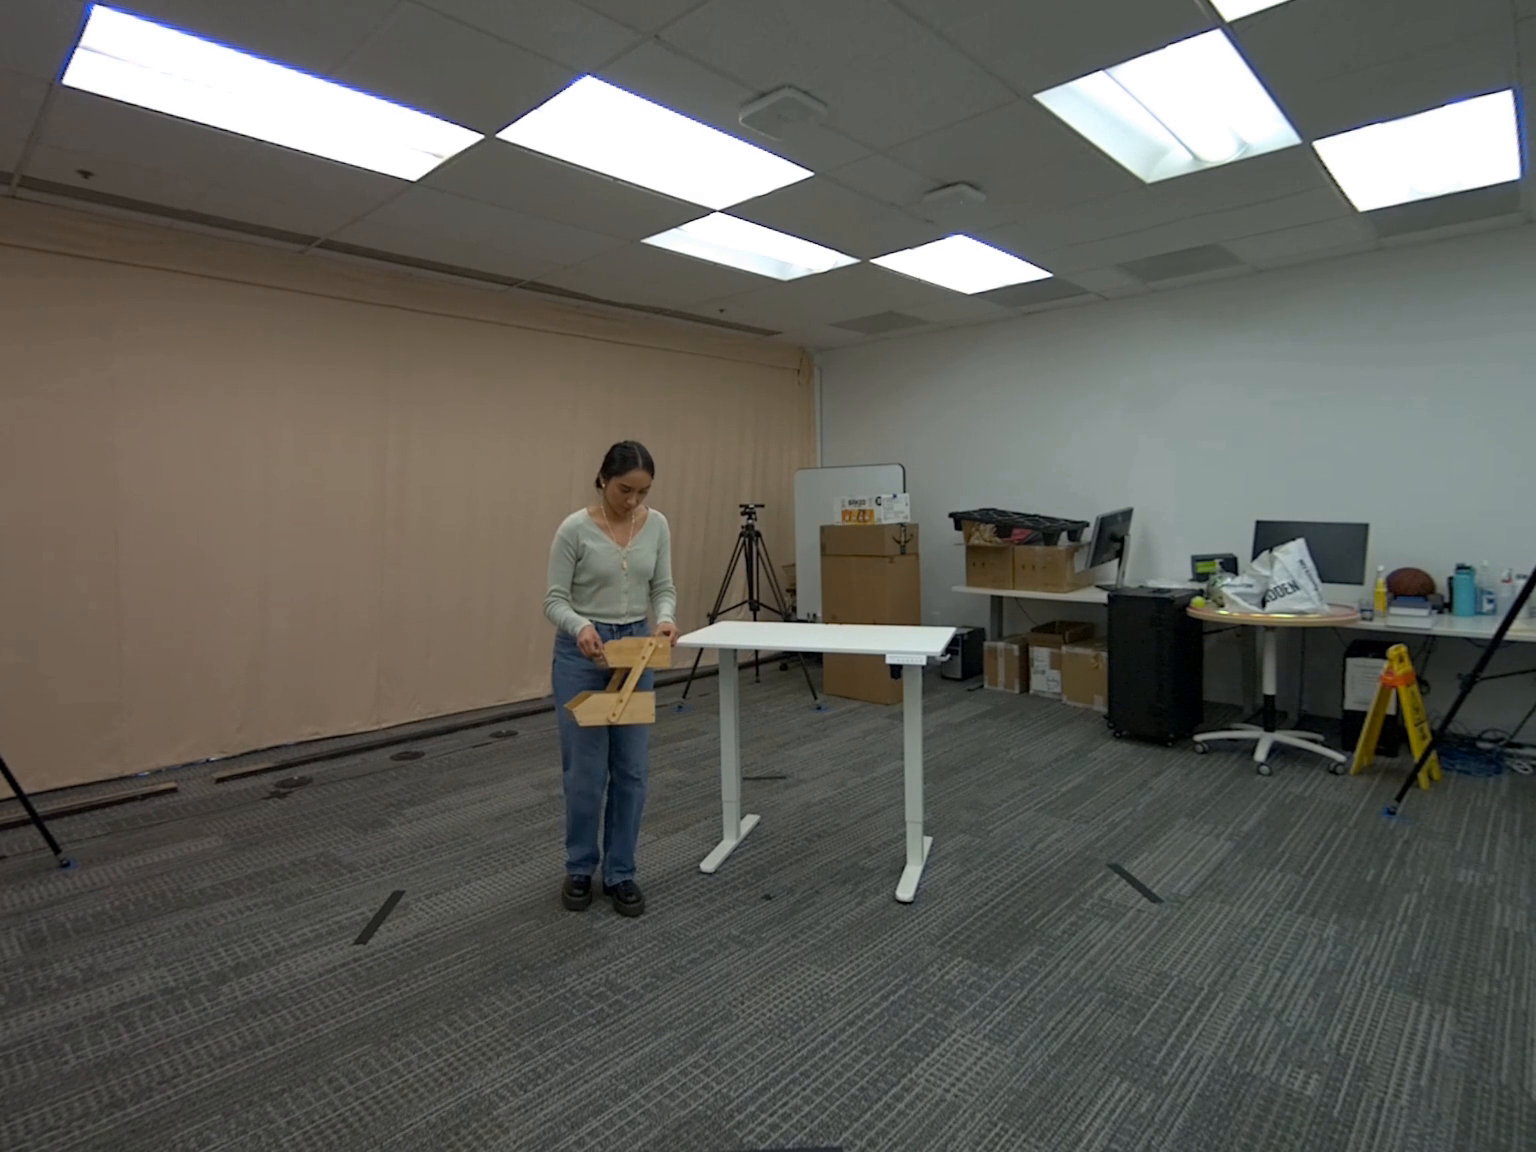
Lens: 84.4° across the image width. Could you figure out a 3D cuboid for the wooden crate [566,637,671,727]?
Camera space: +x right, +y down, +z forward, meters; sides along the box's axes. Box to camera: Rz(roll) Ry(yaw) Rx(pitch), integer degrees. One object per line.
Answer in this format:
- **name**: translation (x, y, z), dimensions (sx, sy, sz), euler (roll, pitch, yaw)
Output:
- **wooden crate**: translation (-0.509, 0.329, 2.698), dimensions (0.296, 0.274, 0.329), euler (1, -7, -18)
